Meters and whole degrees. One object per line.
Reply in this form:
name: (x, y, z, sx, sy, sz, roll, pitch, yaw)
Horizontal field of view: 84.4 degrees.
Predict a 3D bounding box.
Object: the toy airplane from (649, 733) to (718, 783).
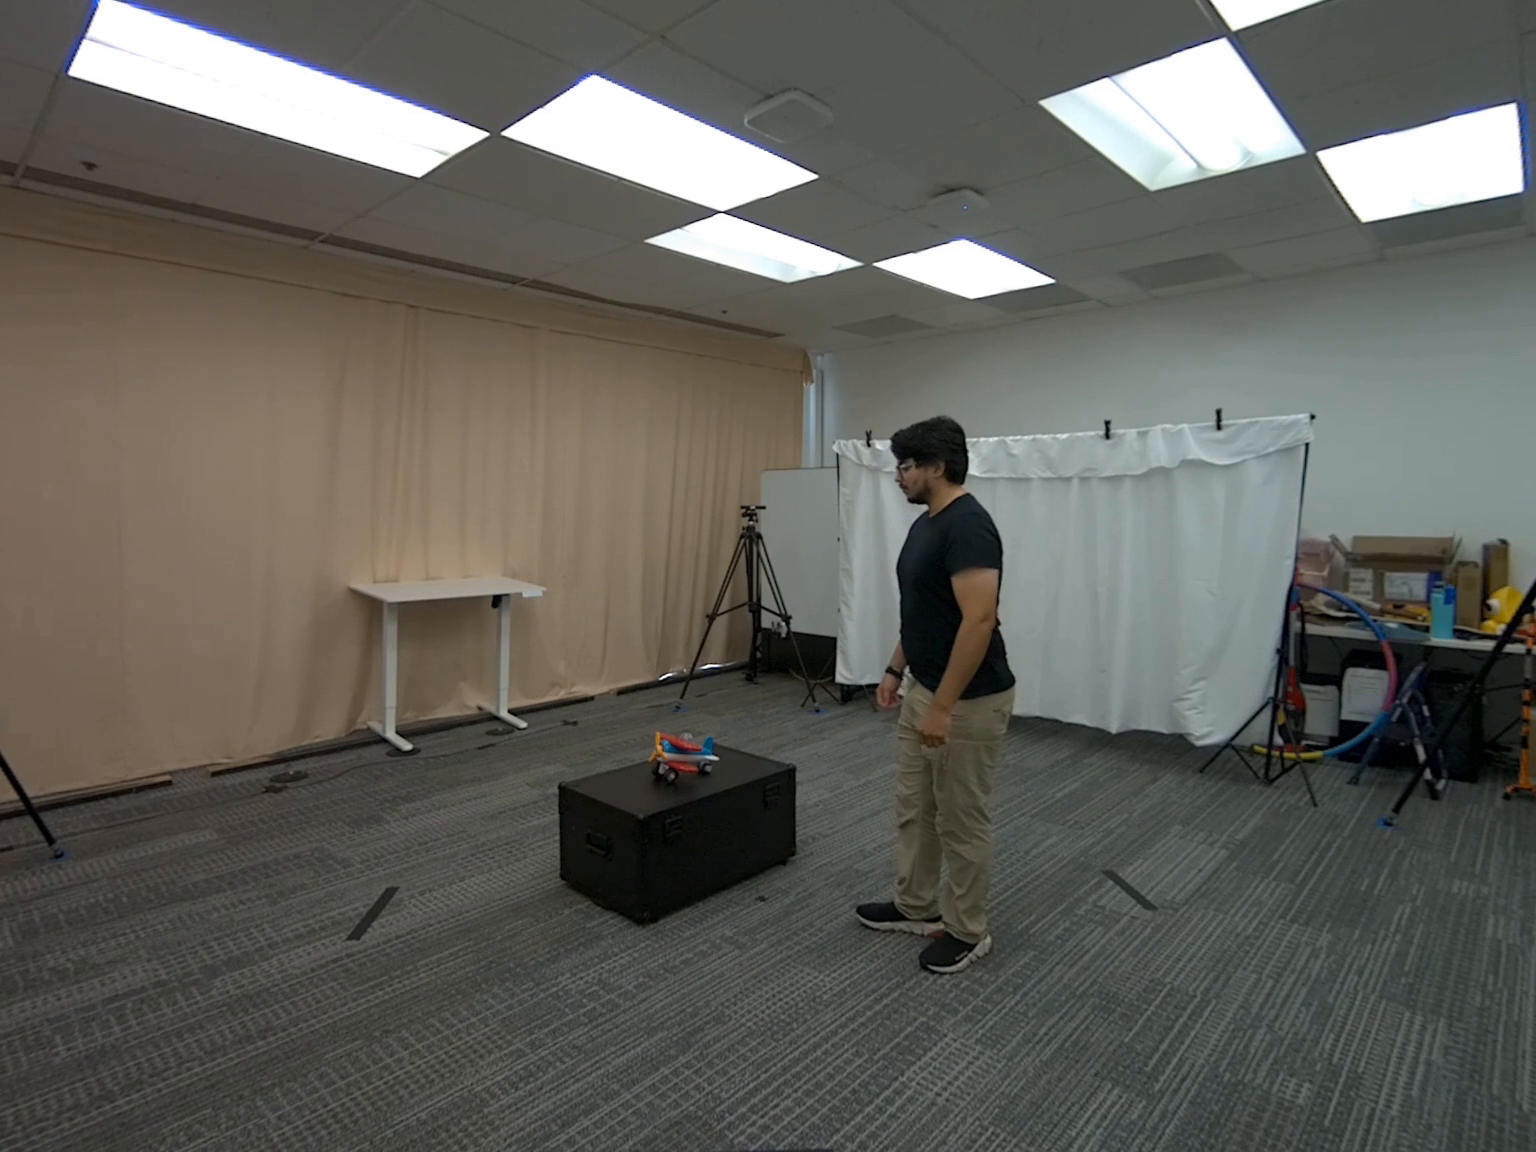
toy airplane: (-0.328, 0.676, 3.189, 0.257, 0.156, 0.254, 1, 6, 24)
